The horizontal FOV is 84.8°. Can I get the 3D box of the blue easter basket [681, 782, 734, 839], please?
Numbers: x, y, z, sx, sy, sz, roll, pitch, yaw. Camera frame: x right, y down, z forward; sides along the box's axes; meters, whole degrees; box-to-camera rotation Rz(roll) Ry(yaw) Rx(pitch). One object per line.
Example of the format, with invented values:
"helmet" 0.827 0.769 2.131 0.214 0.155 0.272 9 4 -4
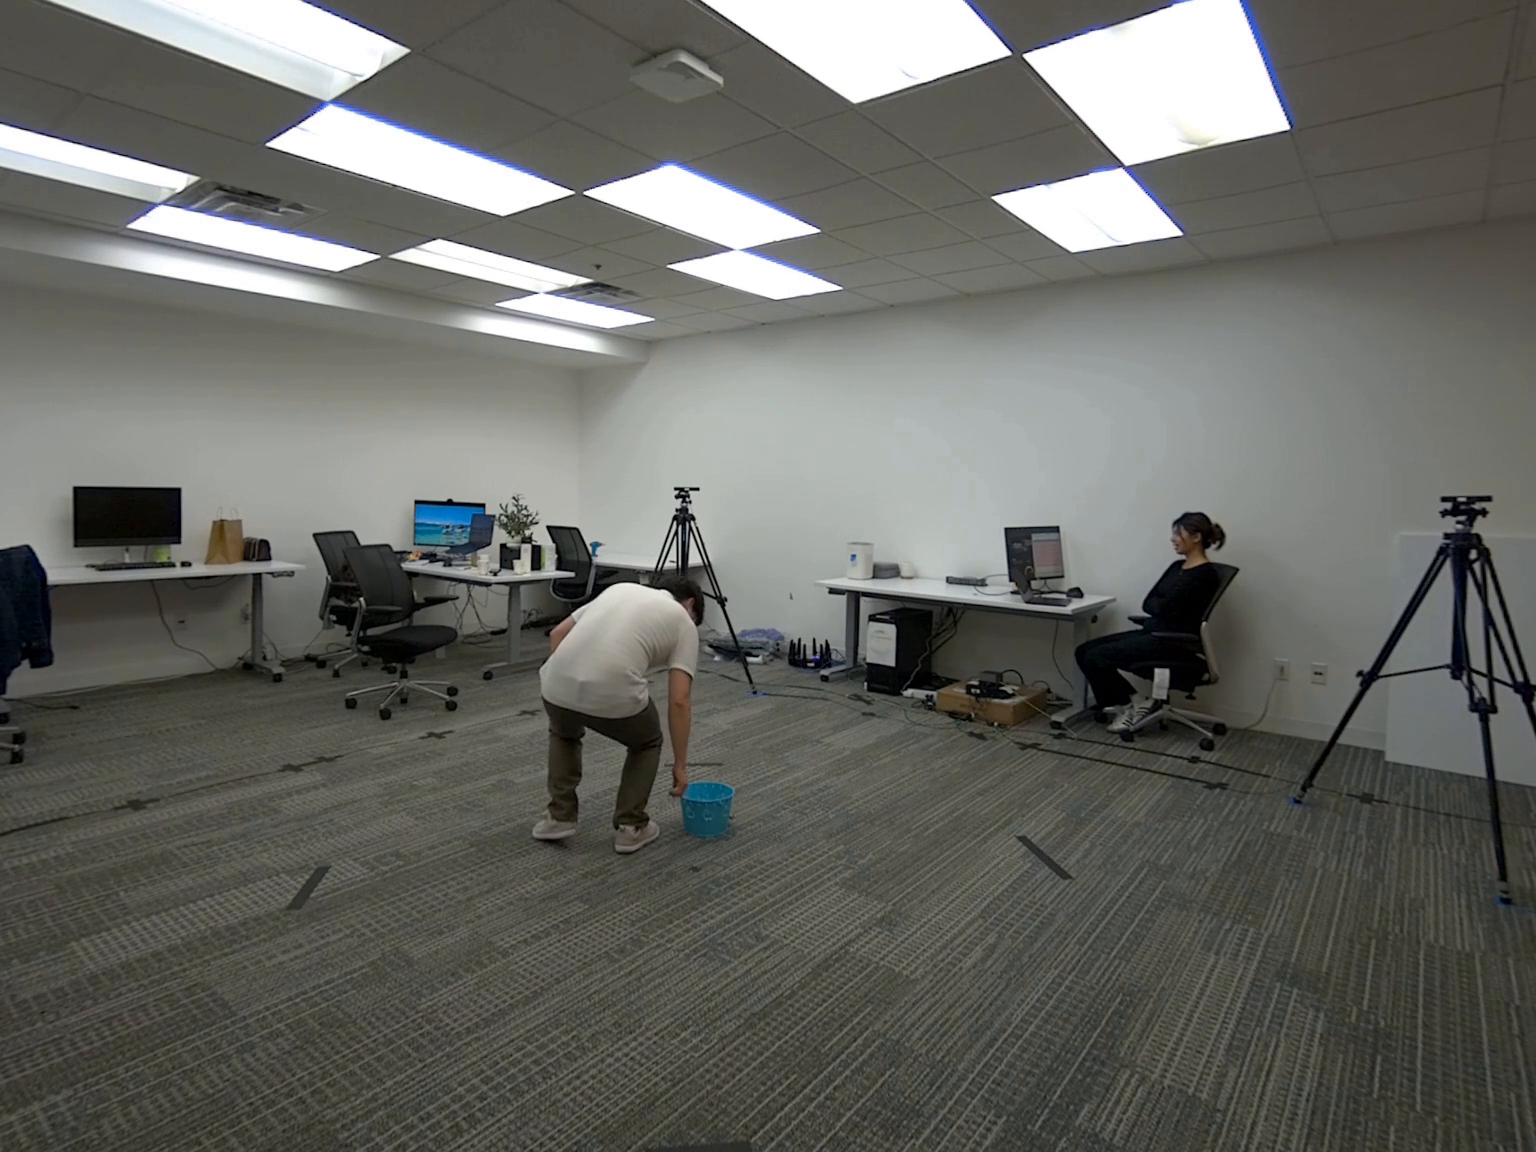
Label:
"blue easter basket" -0.259 0.957 3.482 0.243 0.155 0.245 1 6 -2
